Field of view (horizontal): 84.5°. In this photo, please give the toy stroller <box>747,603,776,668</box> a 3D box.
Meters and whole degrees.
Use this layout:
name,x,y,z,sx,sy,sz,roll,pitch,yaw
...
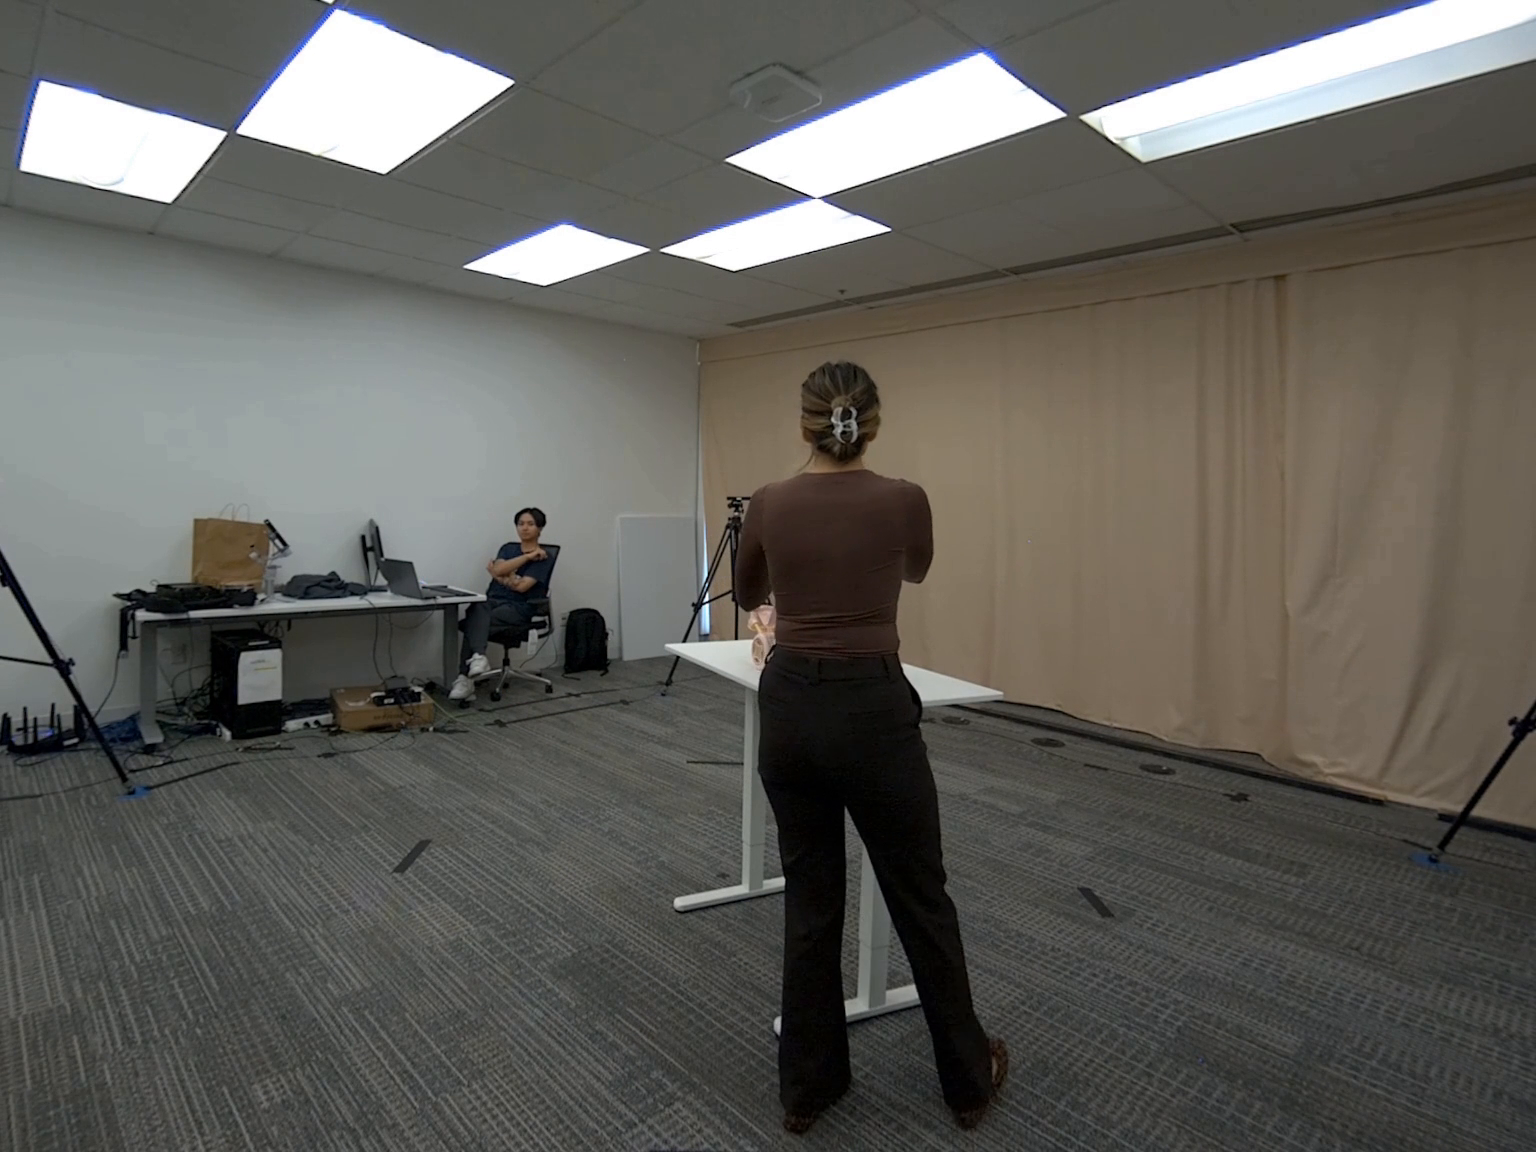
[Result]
name,x,y,z,sx,sy,sz,roll,pitch,yaw
toy stroller,0.088,0.060,2.575,0.277,0.529,0.350,2,20,-19
